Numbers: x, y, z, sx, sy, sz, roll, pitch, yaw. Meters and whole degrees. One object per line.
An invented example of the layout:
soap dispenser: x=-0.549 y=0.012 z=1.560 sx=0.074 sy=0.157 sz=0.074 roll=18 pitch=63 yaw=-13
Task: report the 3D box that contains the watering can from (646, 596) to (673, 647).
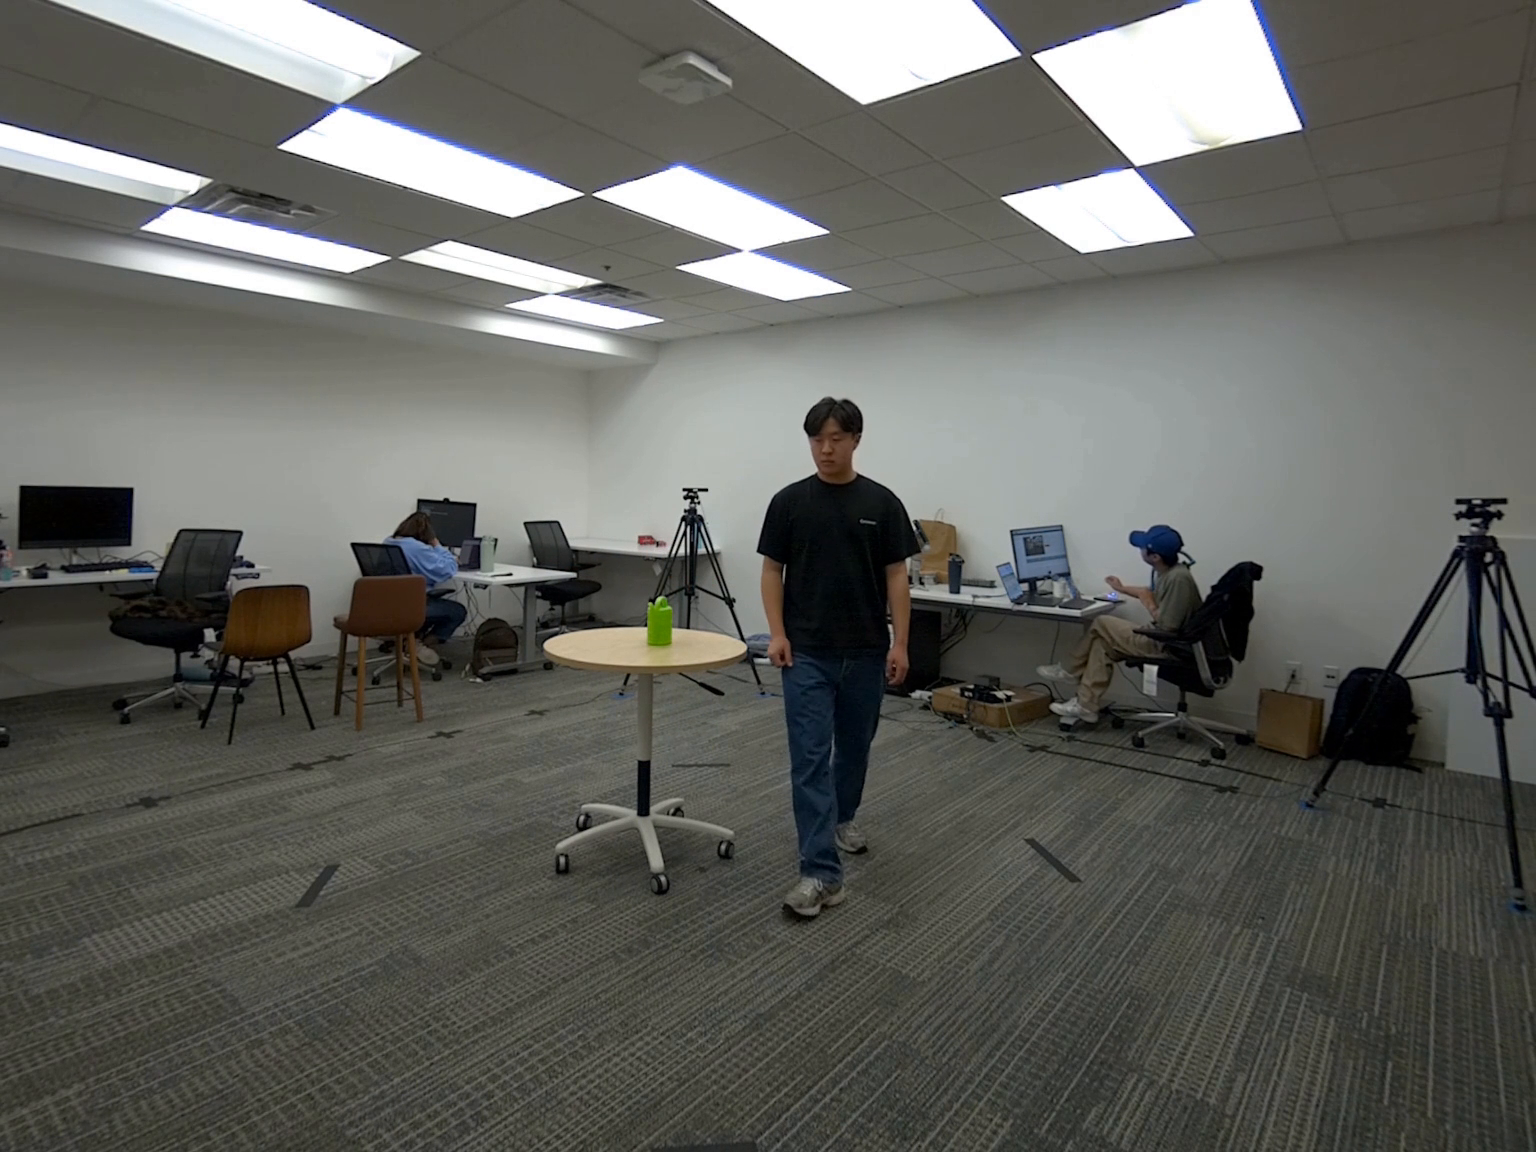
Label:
watering can: x=-0.444 y=0.175 z=3.231 sx=0.100 sy=0.176 sz=0.272 roll=2 pitch=3 yaw=22
